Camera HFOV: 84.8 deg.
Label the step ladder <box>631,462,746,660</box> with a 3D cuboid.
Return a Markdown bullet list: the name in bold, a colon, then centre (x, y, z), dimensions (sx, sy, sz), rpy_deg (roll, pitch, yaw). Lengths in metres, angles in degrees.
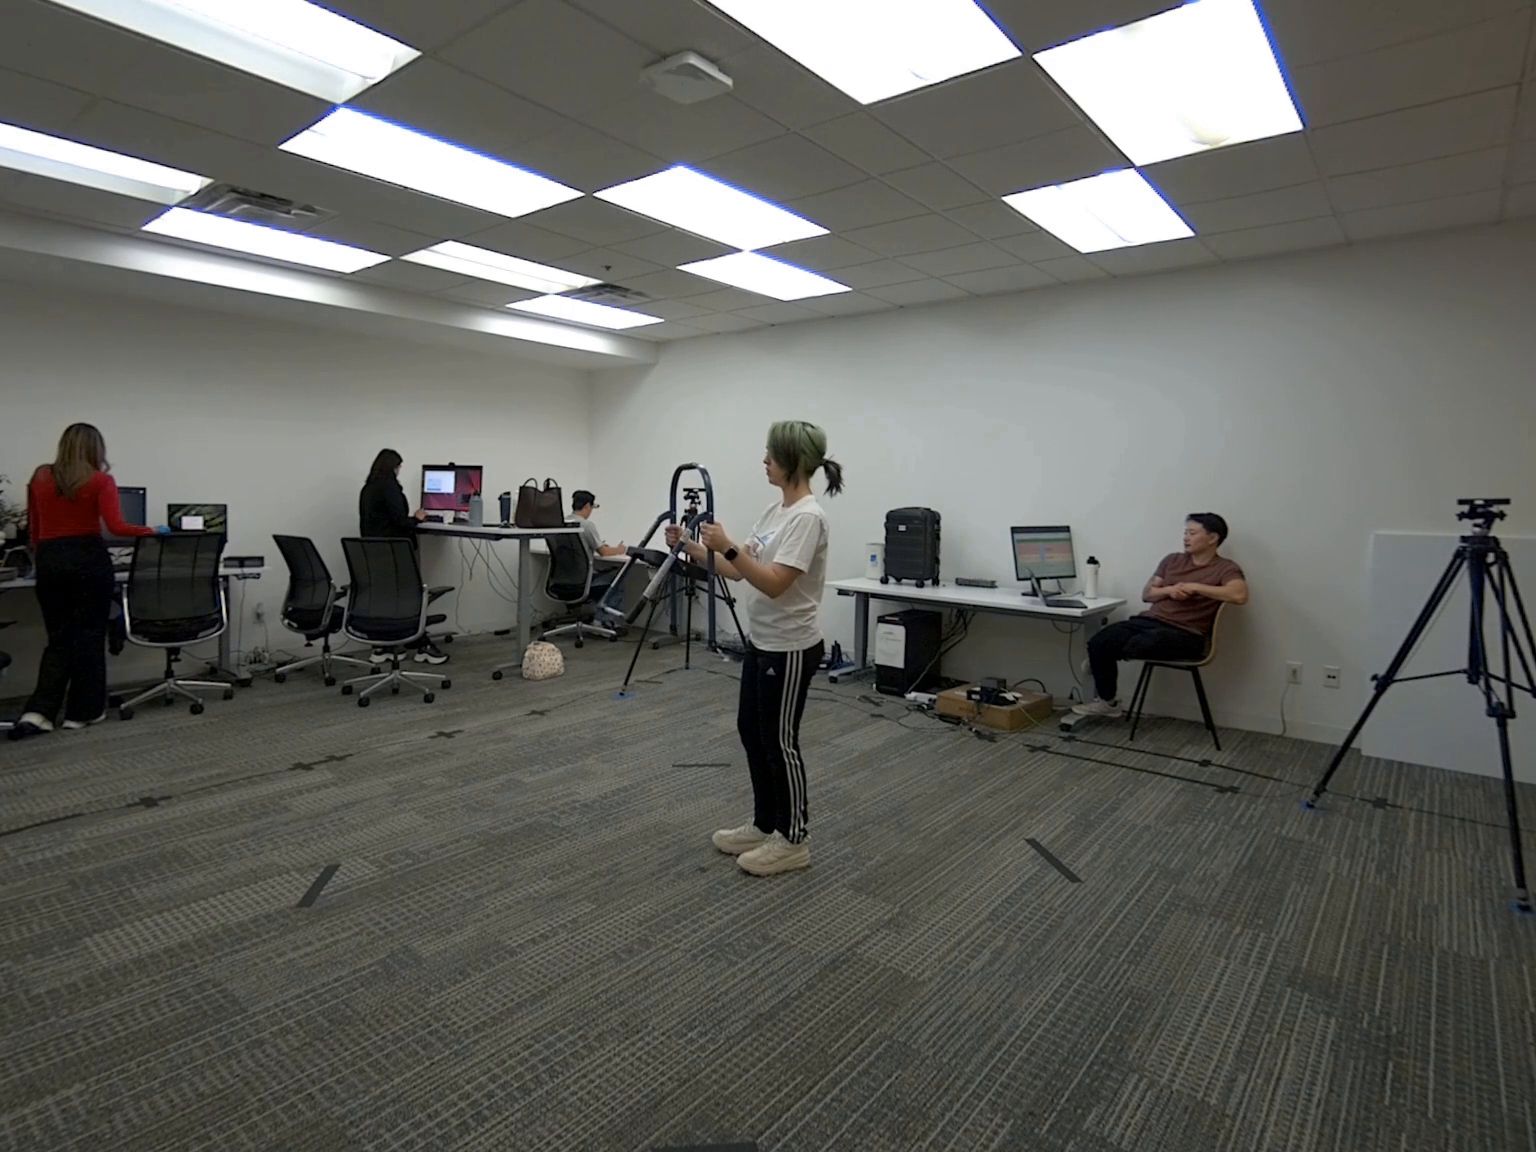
- **step ladder**: centre (-0.329, -0.096, 3.061), dimensions (0.339, 0.608, 0.442), rpy_deg (21, -7, -25)
